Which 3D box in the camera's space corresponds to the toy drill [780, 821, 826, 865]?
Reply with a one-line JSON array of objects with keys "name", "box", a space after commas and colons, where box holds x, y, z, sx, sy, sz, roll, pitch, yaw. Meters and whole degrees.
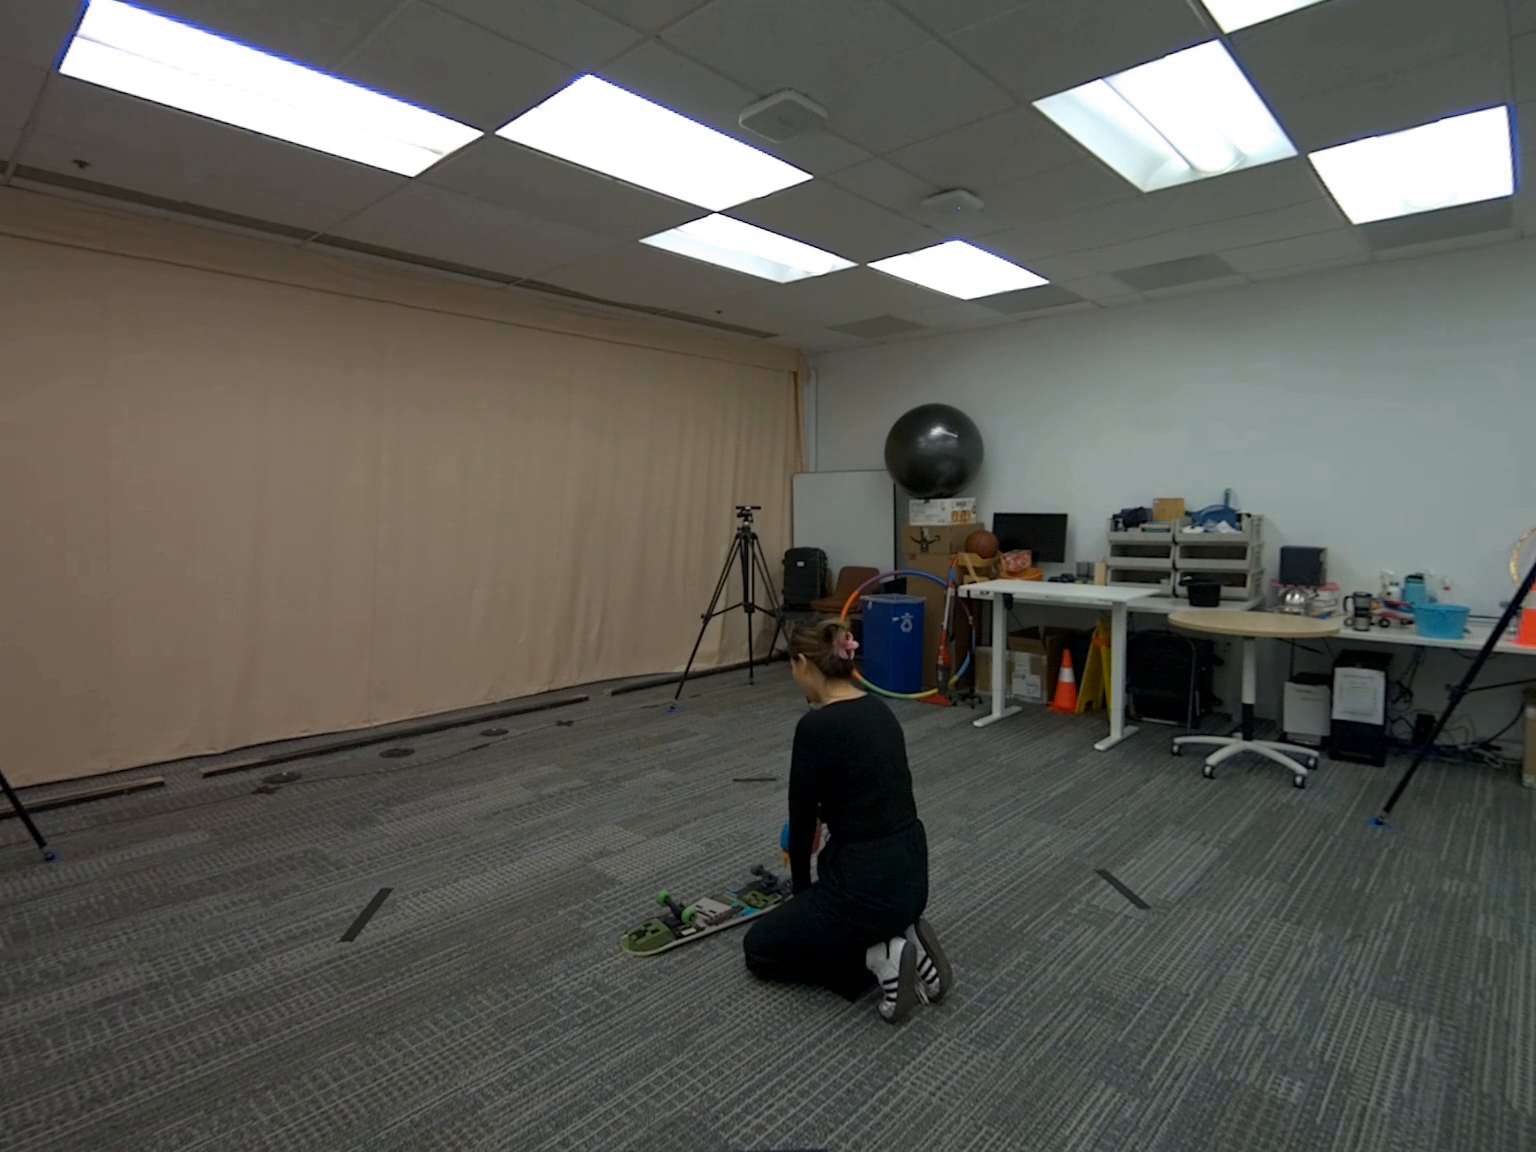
[{"name": "toy drill", "box": [0.108, 0.952, 2.936, 0.151, 0.169, 0.059, 11, 3, 38]}]
